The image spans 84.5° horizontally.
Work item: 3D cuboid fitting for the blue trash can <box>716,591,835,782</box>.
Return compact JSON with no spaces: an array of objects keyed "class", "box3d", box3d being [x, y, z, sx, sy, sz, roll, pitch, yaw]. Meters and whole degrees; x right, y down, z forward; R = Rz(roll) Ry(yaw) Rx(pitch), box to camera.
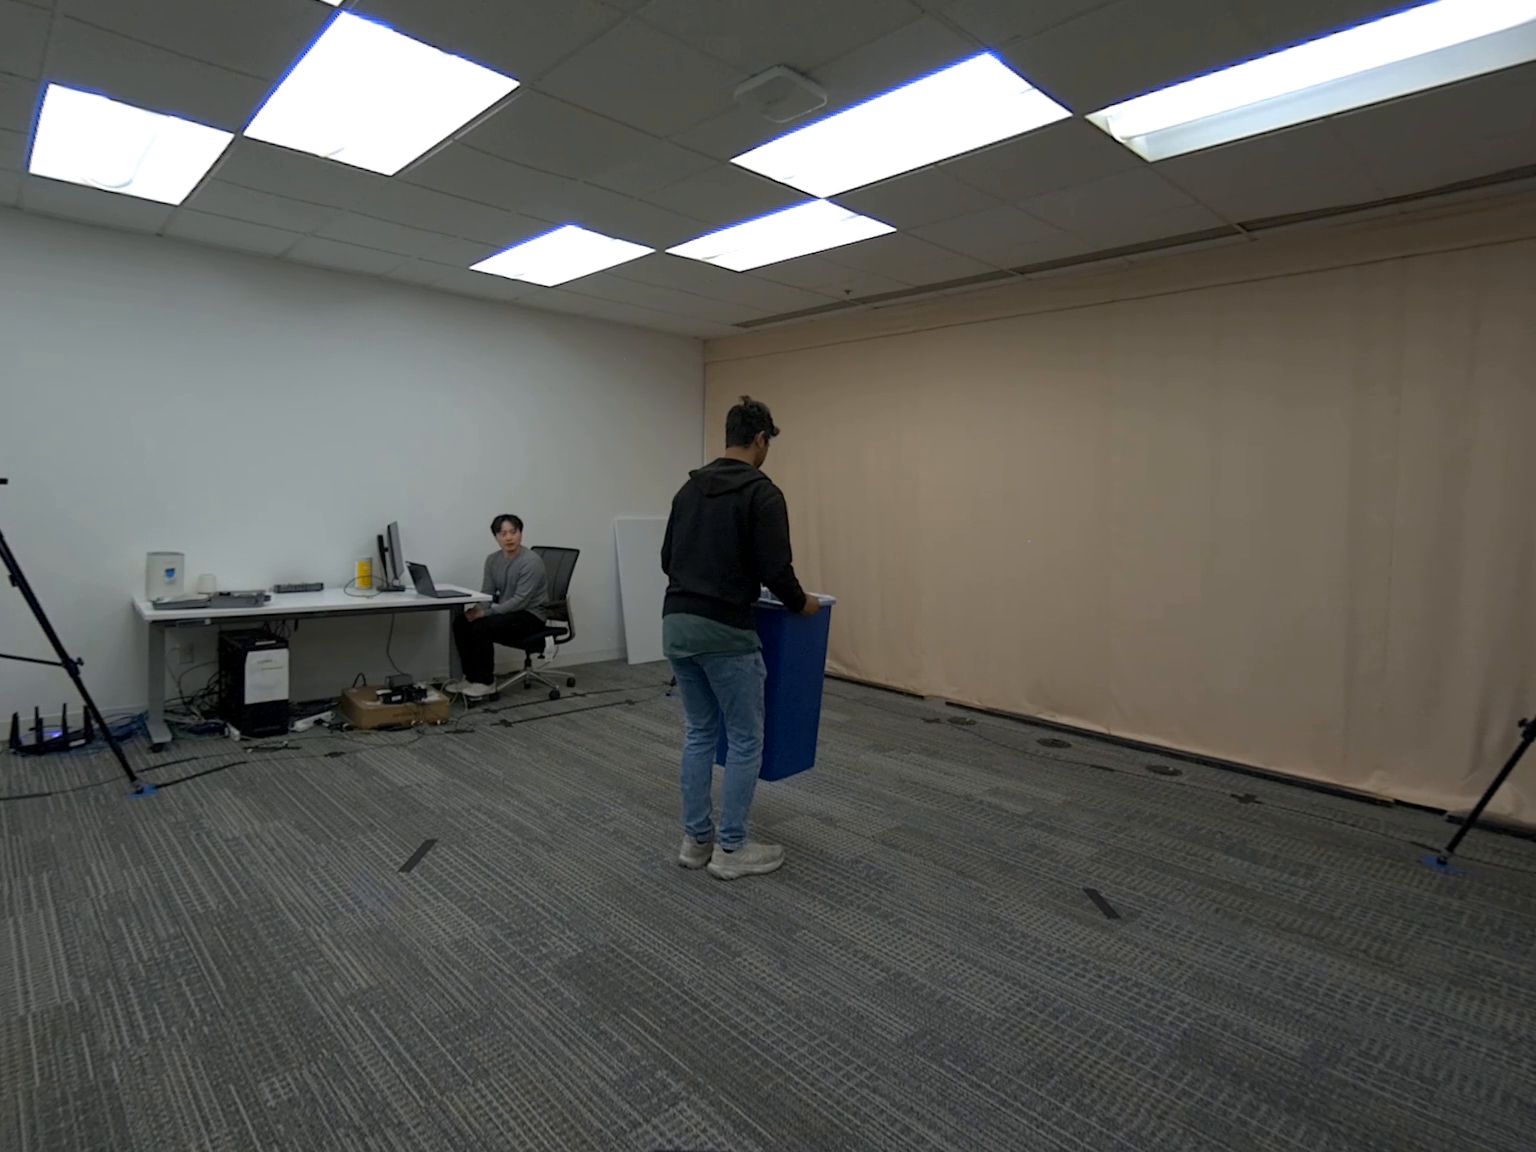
[{"class":"blue trash can","box3d":[0.019,0.437,3.465,0.383,0.712,0.369,7,5,38]}]
